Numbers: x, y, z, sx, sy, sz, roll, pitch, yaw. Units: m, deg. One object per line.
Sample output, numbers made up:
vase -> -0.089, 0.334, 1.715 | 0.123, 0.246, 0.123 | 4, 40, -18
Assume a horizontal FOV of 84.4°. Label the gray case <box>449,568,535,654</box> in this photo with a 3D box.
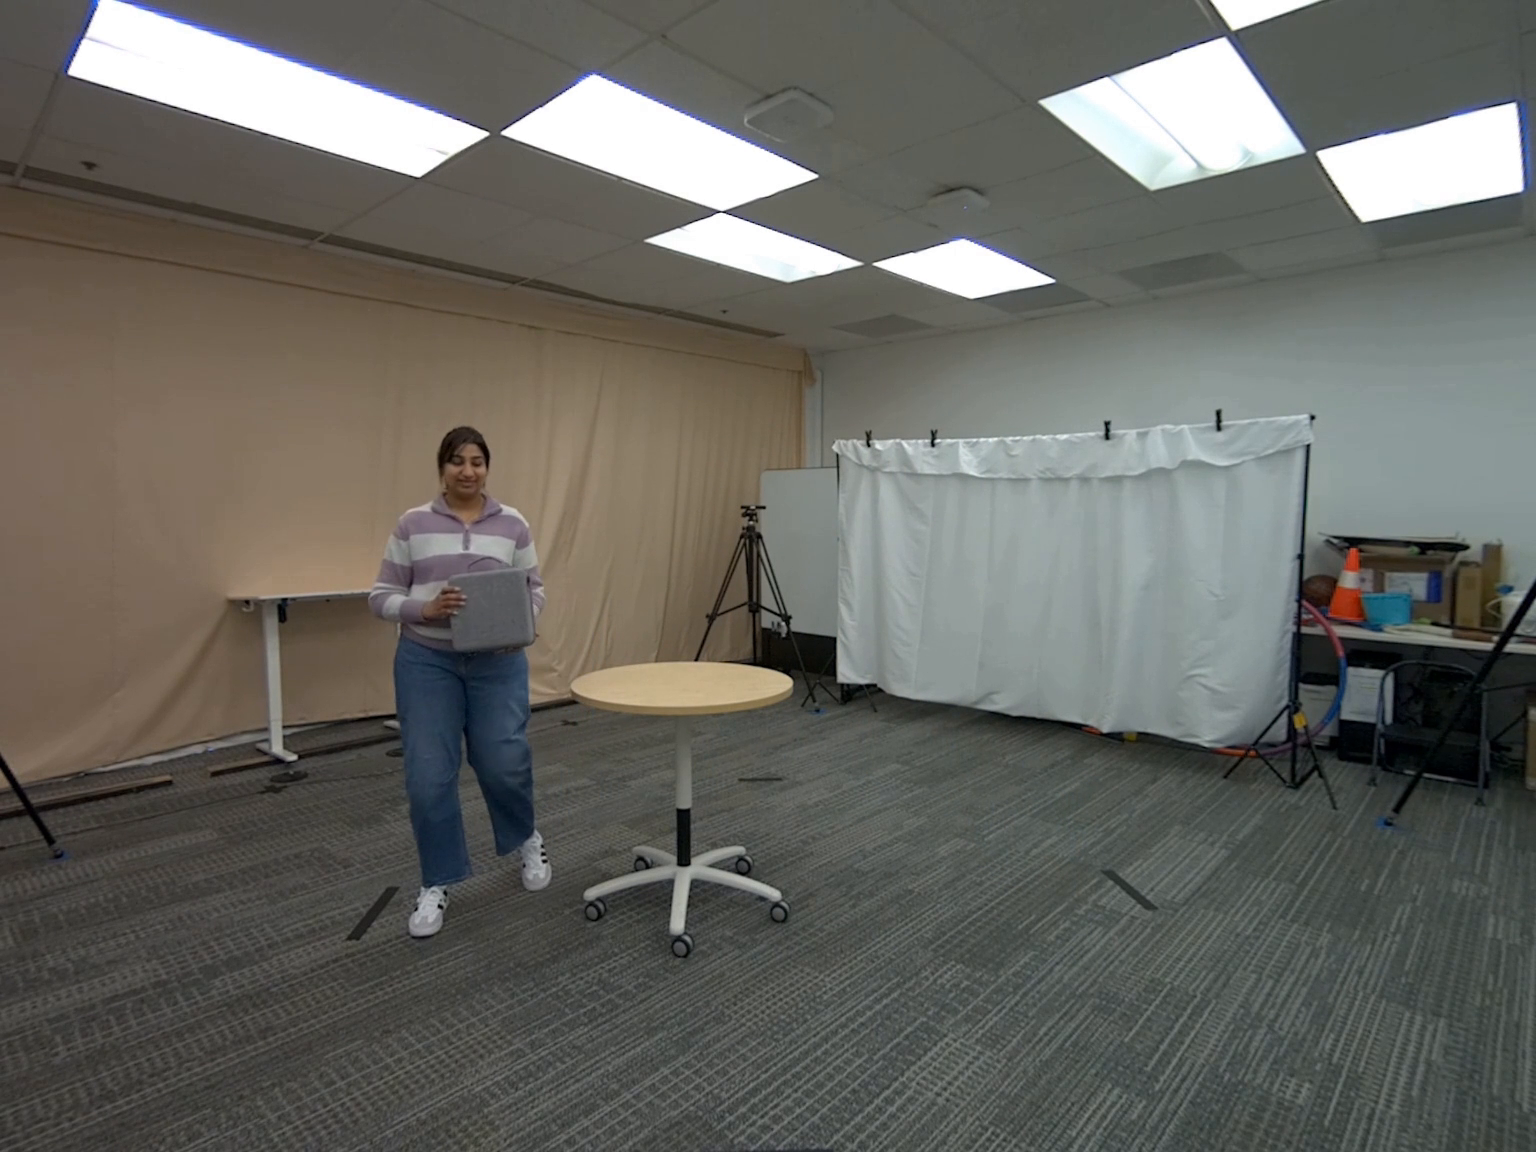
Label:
gray case -> -0.882, 0.100, 2.687 | 0.256, 0.261, 0.104 | -5, -5, -5
